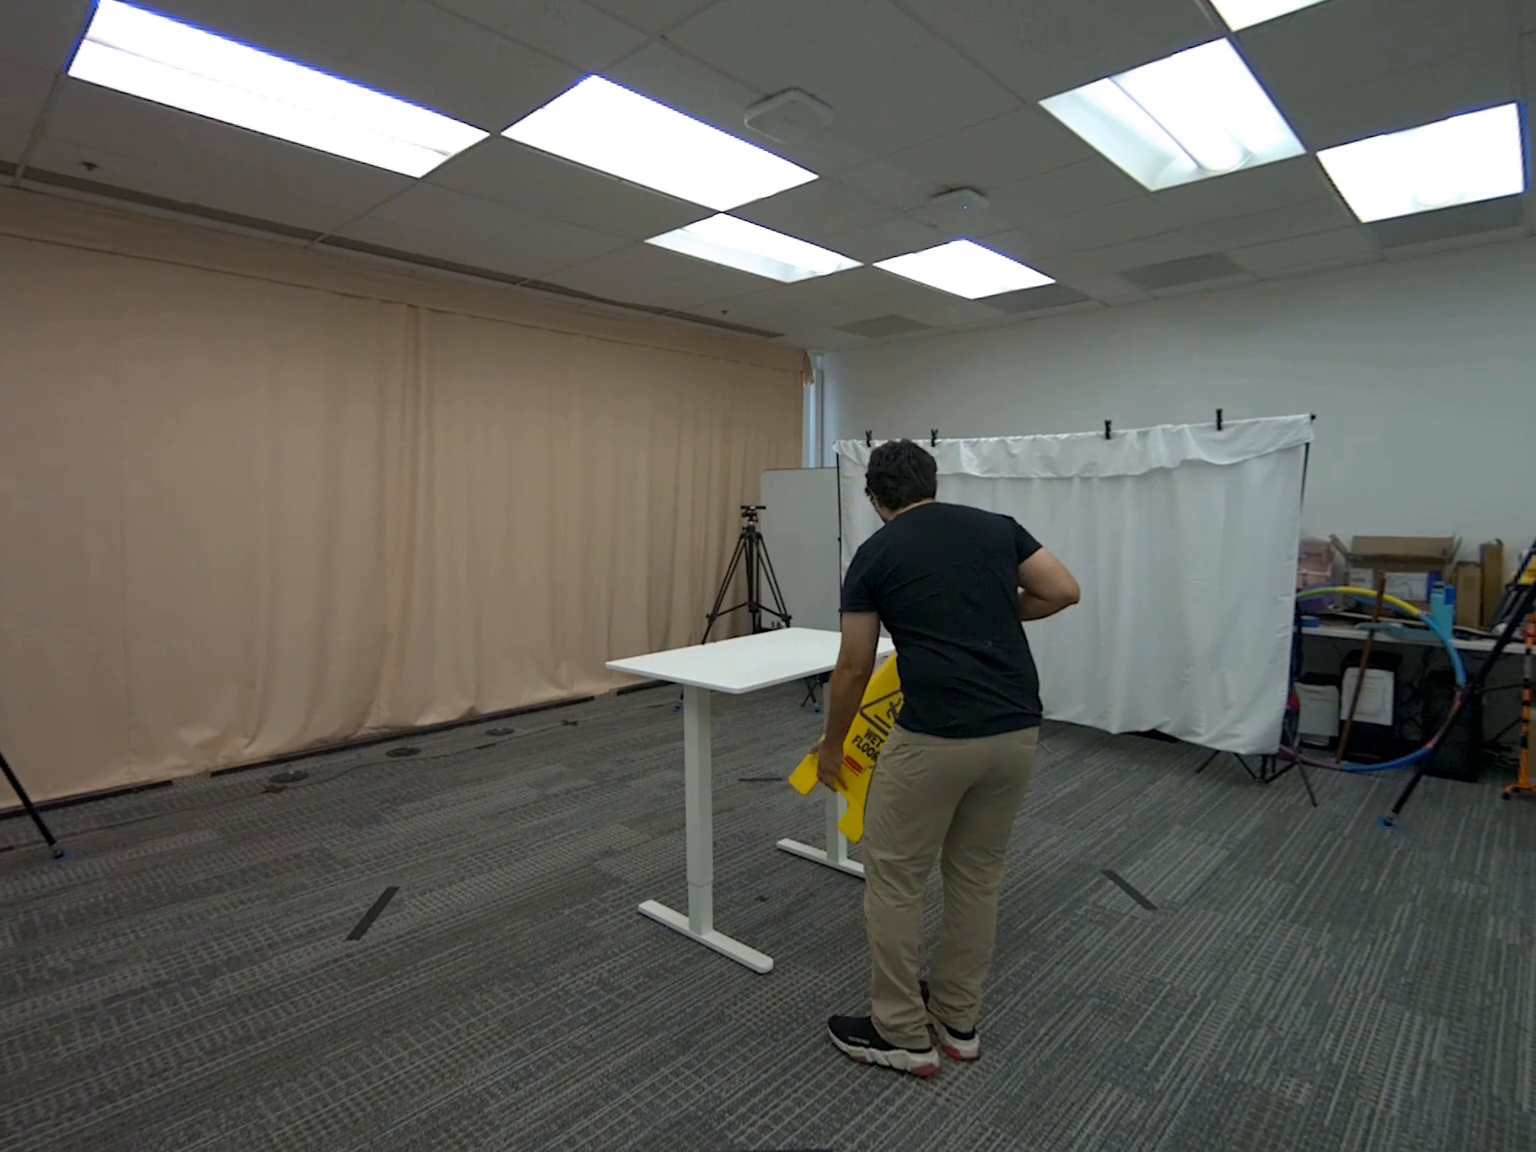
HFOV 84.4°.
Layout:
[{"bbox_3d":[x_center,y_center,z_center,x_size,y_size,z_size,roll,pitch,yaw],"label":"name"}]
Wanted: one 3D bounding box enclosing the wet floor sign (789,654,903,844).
[{"bbox_3d":[0.393,0.416,2.422,0.293,0.646,0.279,36,9,39],"label":"wet floor sign"}]
